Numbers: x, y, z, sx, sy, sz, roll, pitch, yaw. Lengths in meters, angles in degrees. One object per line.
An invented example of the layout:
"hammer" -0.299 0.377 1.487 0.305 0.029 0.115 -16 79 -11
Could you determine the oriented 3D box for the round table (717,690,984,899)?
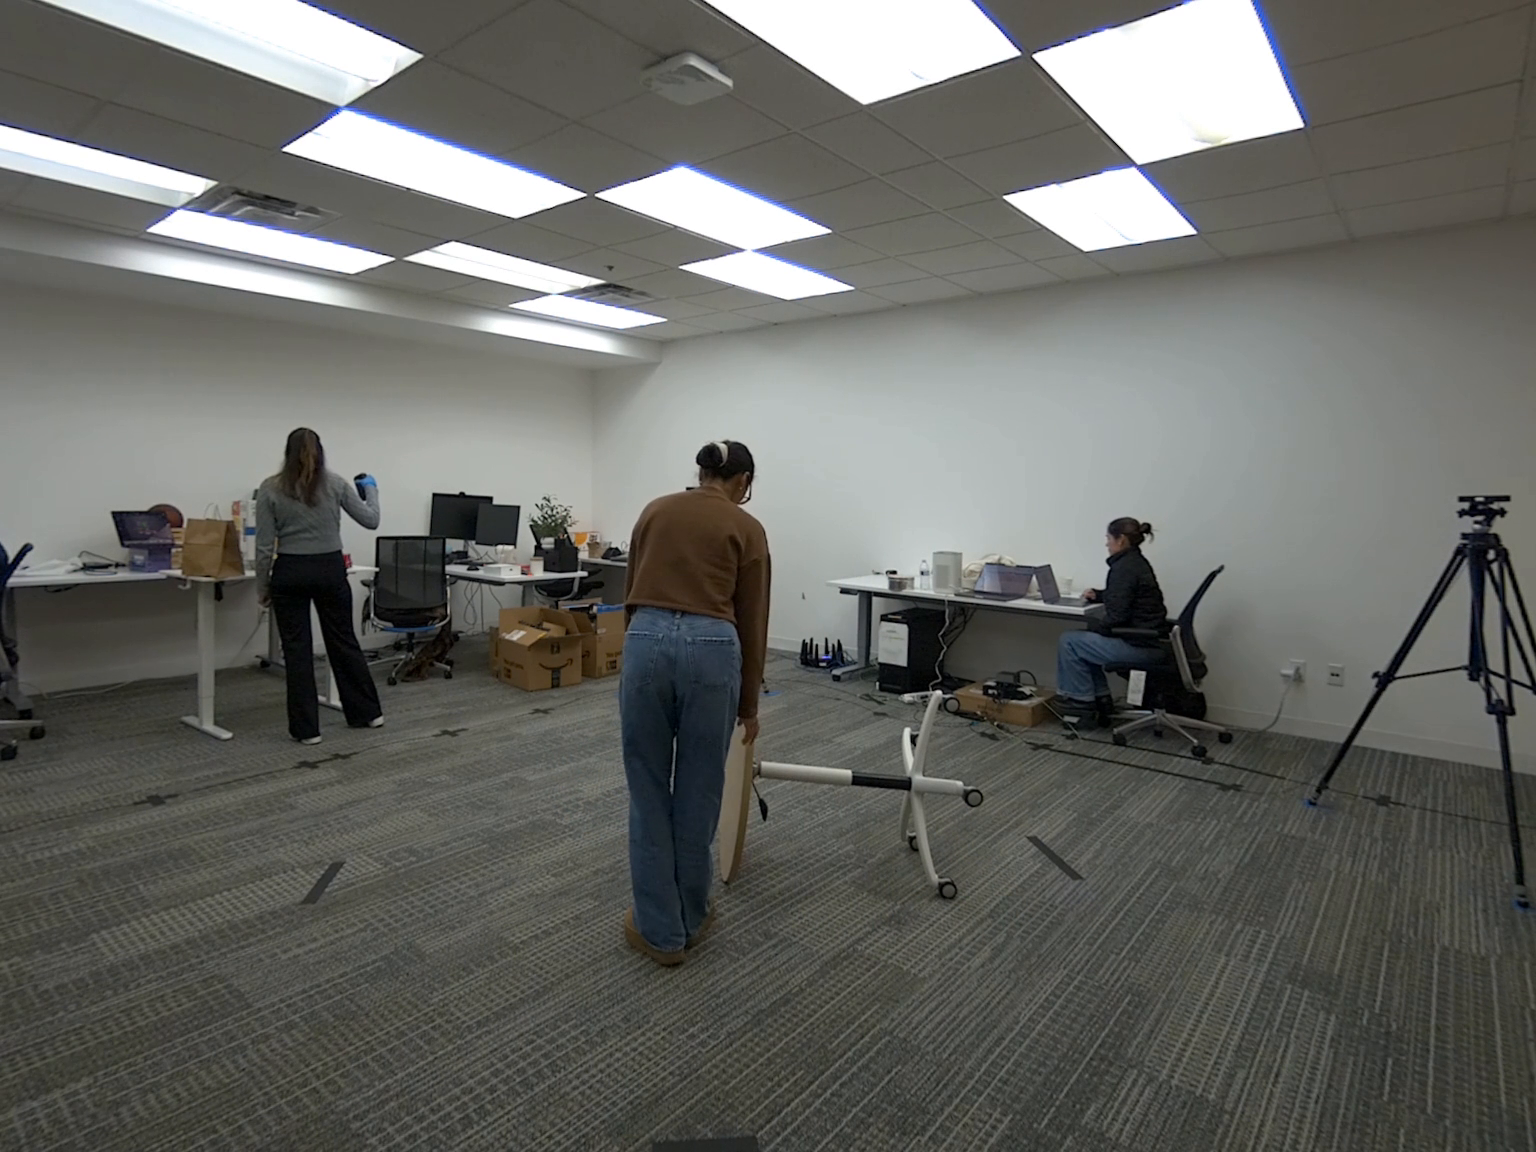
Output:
"round table" 0.259 0.736 3.089 0.791 0.762 0.770 6 4 -5
